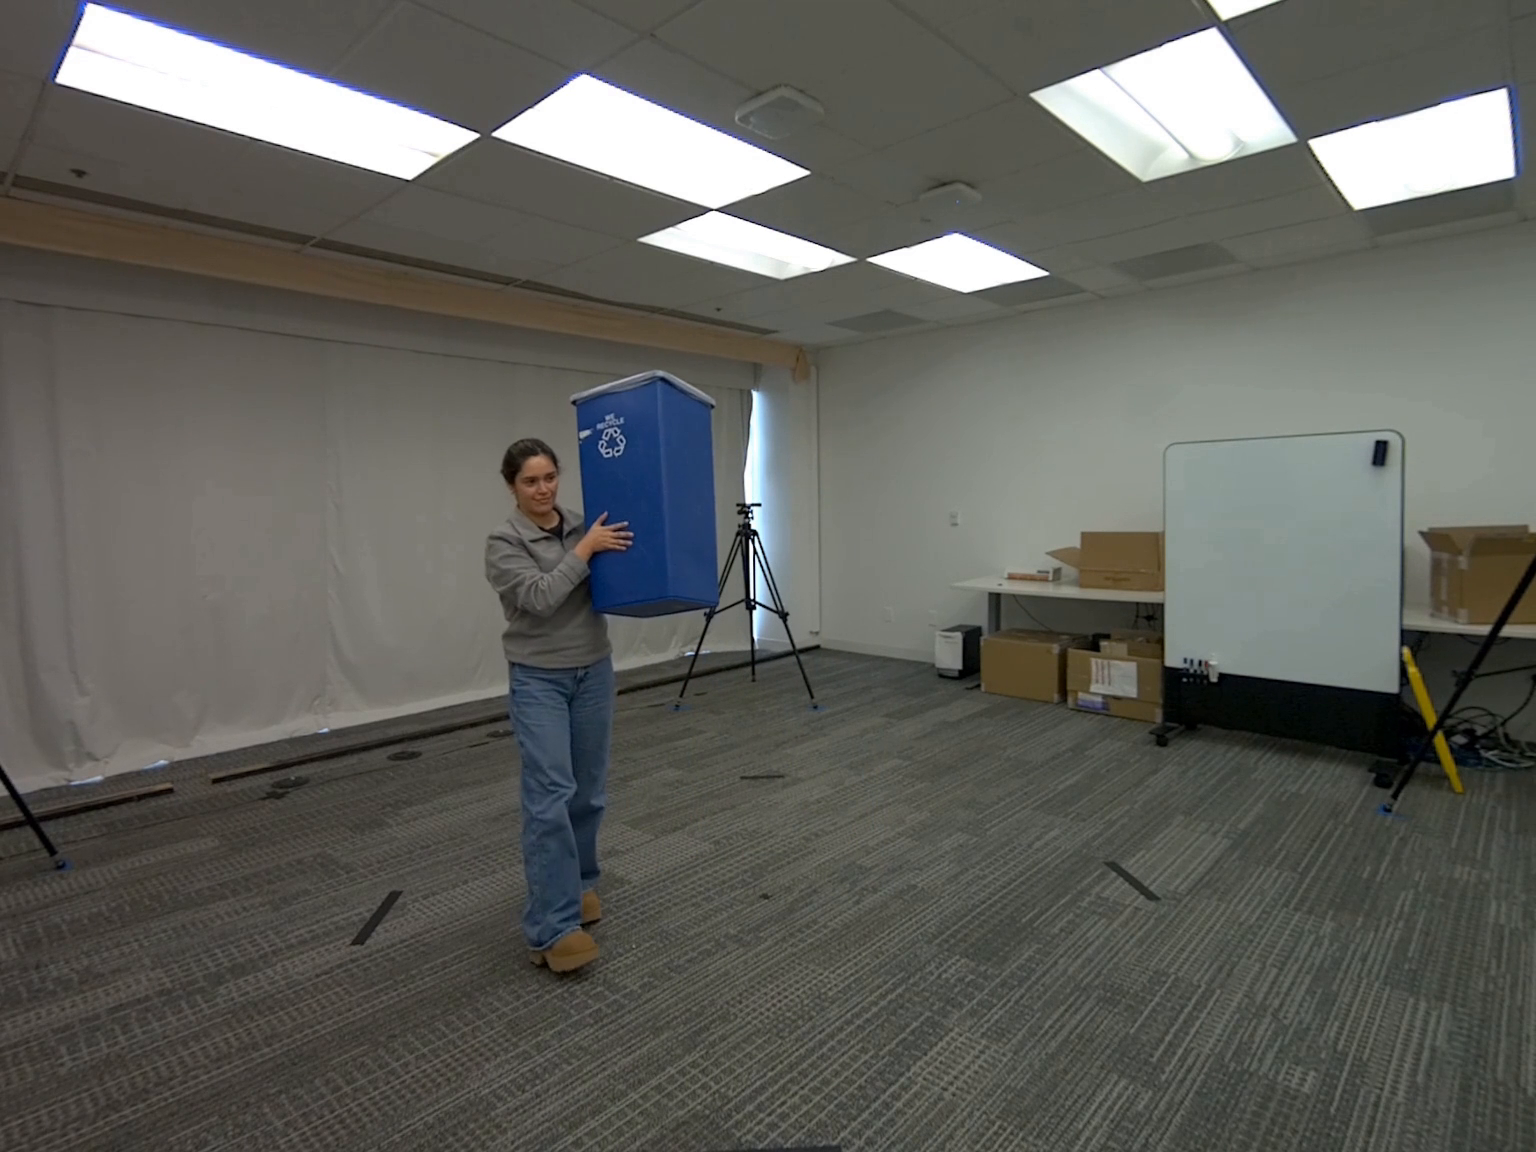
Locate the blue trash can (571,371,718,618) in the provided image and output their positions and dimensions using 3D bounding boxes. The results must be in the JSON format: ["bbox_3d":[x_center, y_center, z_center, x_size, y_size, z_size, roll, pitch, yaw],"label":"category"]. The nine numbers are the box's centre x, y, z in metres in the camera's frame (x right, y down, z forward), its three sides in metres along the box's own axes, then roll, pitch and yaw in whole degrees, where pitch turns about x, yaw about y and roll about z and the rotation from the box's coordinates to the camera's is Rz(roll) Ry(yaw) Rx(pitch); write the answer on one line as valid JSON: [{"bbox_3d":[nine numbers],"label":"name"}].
[{"bbox_3d":[-0.375,-0.253,2.755,0.382,0.720,0.366,-11,-13,26],"label":"blue trash can"}]
